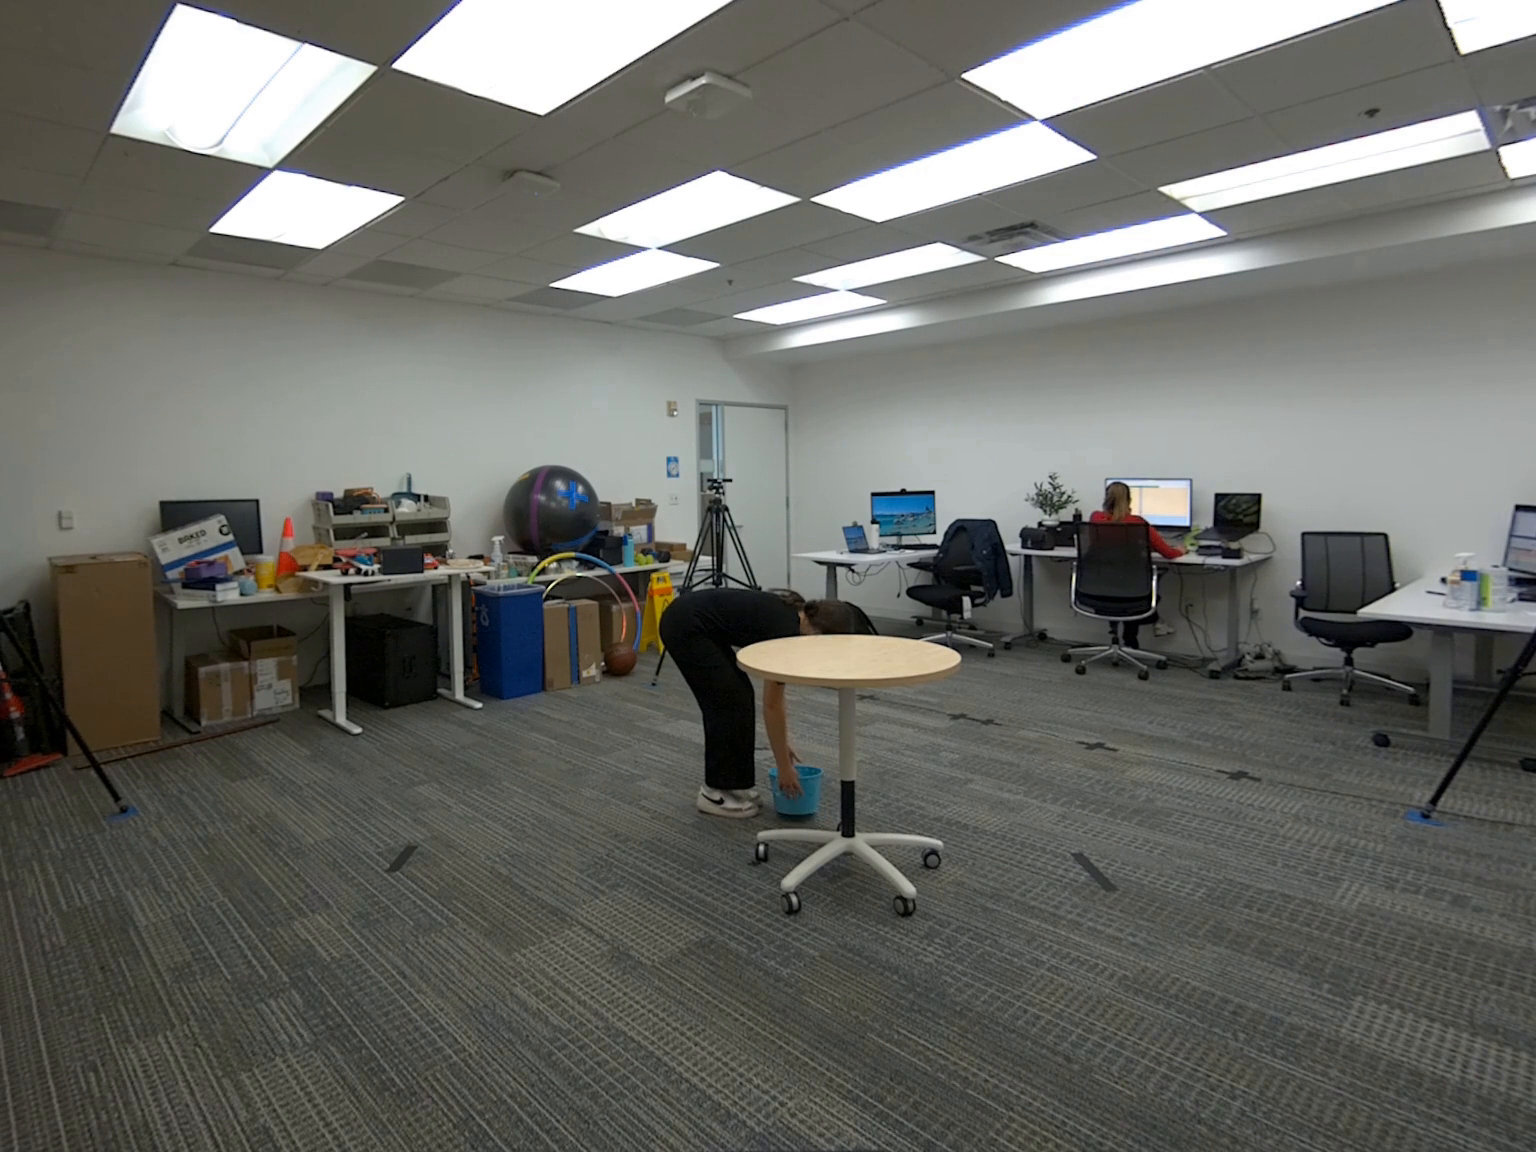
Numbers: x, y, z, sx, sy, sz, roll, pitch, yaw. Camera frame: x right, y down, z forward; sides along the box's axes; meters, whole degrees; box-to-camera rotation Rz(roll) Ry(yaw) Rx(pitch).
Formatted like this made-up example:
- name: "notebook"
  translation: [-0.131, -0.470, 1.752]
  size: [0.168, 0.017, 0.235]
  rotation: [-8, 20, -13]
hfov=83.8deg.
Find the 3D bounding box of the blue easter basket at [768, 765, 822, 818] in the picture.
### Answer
- name: "blue easter basket"
  translation: [0.108, 0.882, 3.551]
  size: [0.243, 0.156, 0.243]
  rotation: [-1, -1, -2]
